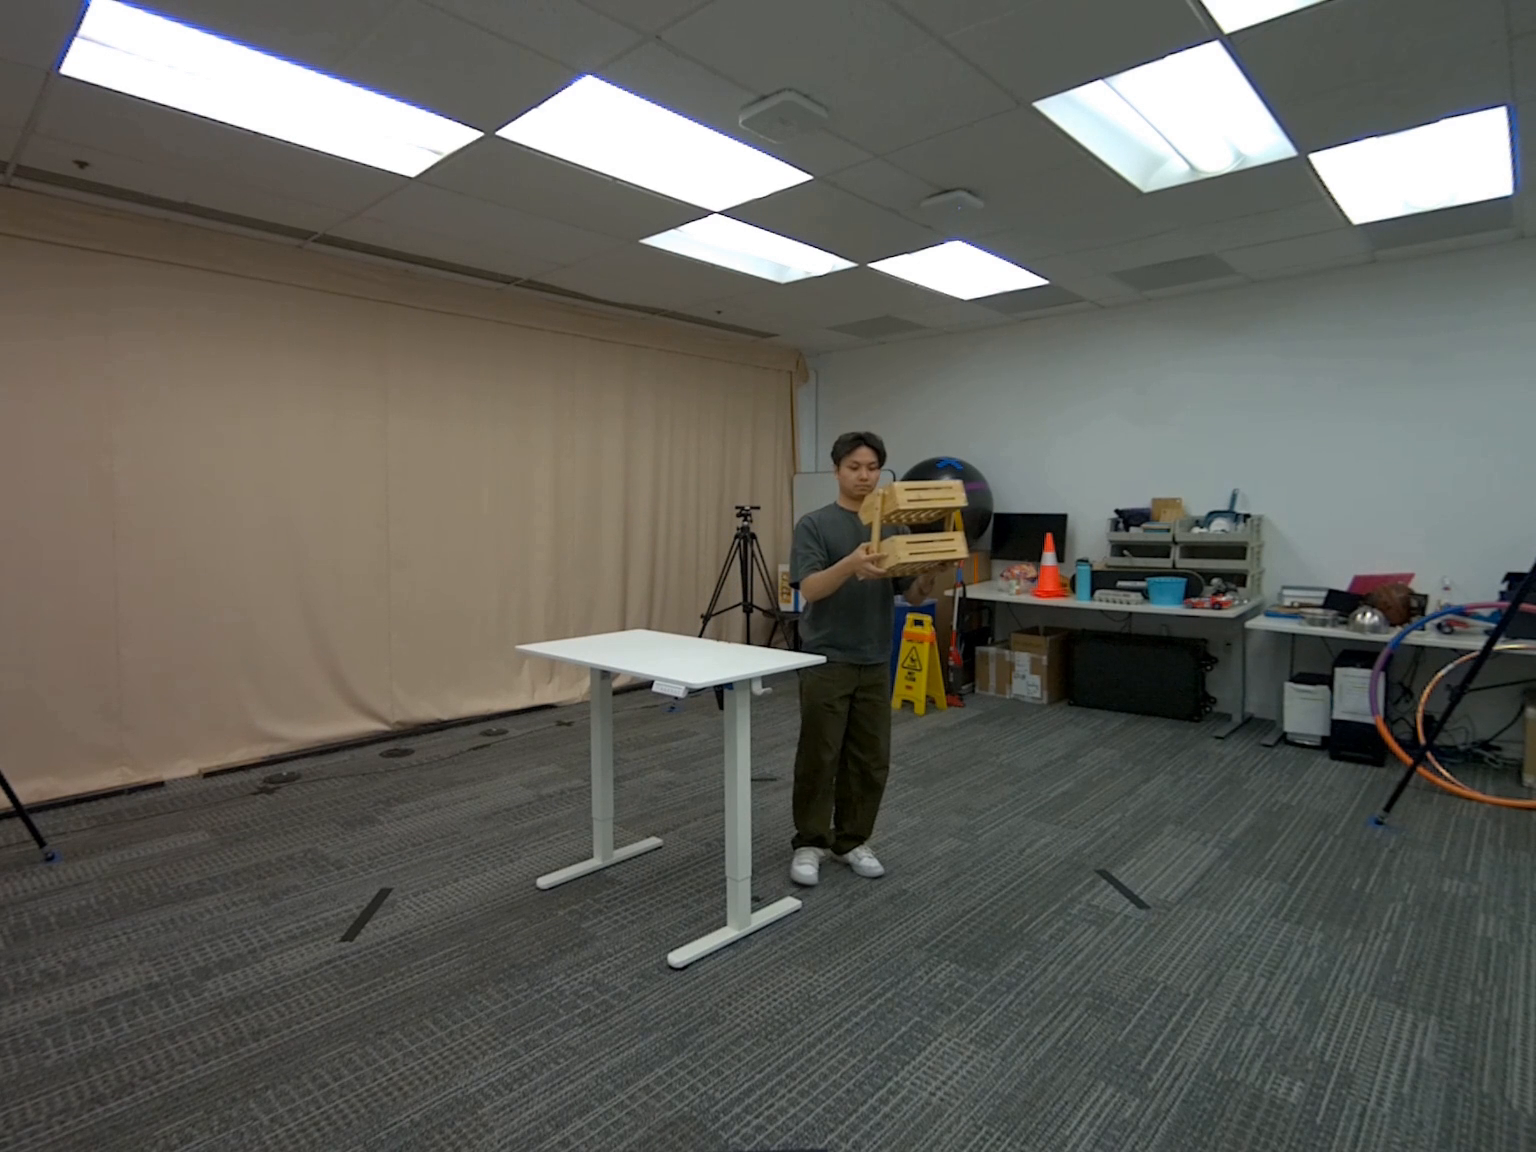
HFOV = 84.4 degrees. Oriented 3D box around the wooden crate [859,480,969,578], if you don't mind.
[{"bbox_3d":[0.478,-0.159,2.899,0.316,0.276,0.307,-5,-11,-28],"label":"wooden crate"}]
